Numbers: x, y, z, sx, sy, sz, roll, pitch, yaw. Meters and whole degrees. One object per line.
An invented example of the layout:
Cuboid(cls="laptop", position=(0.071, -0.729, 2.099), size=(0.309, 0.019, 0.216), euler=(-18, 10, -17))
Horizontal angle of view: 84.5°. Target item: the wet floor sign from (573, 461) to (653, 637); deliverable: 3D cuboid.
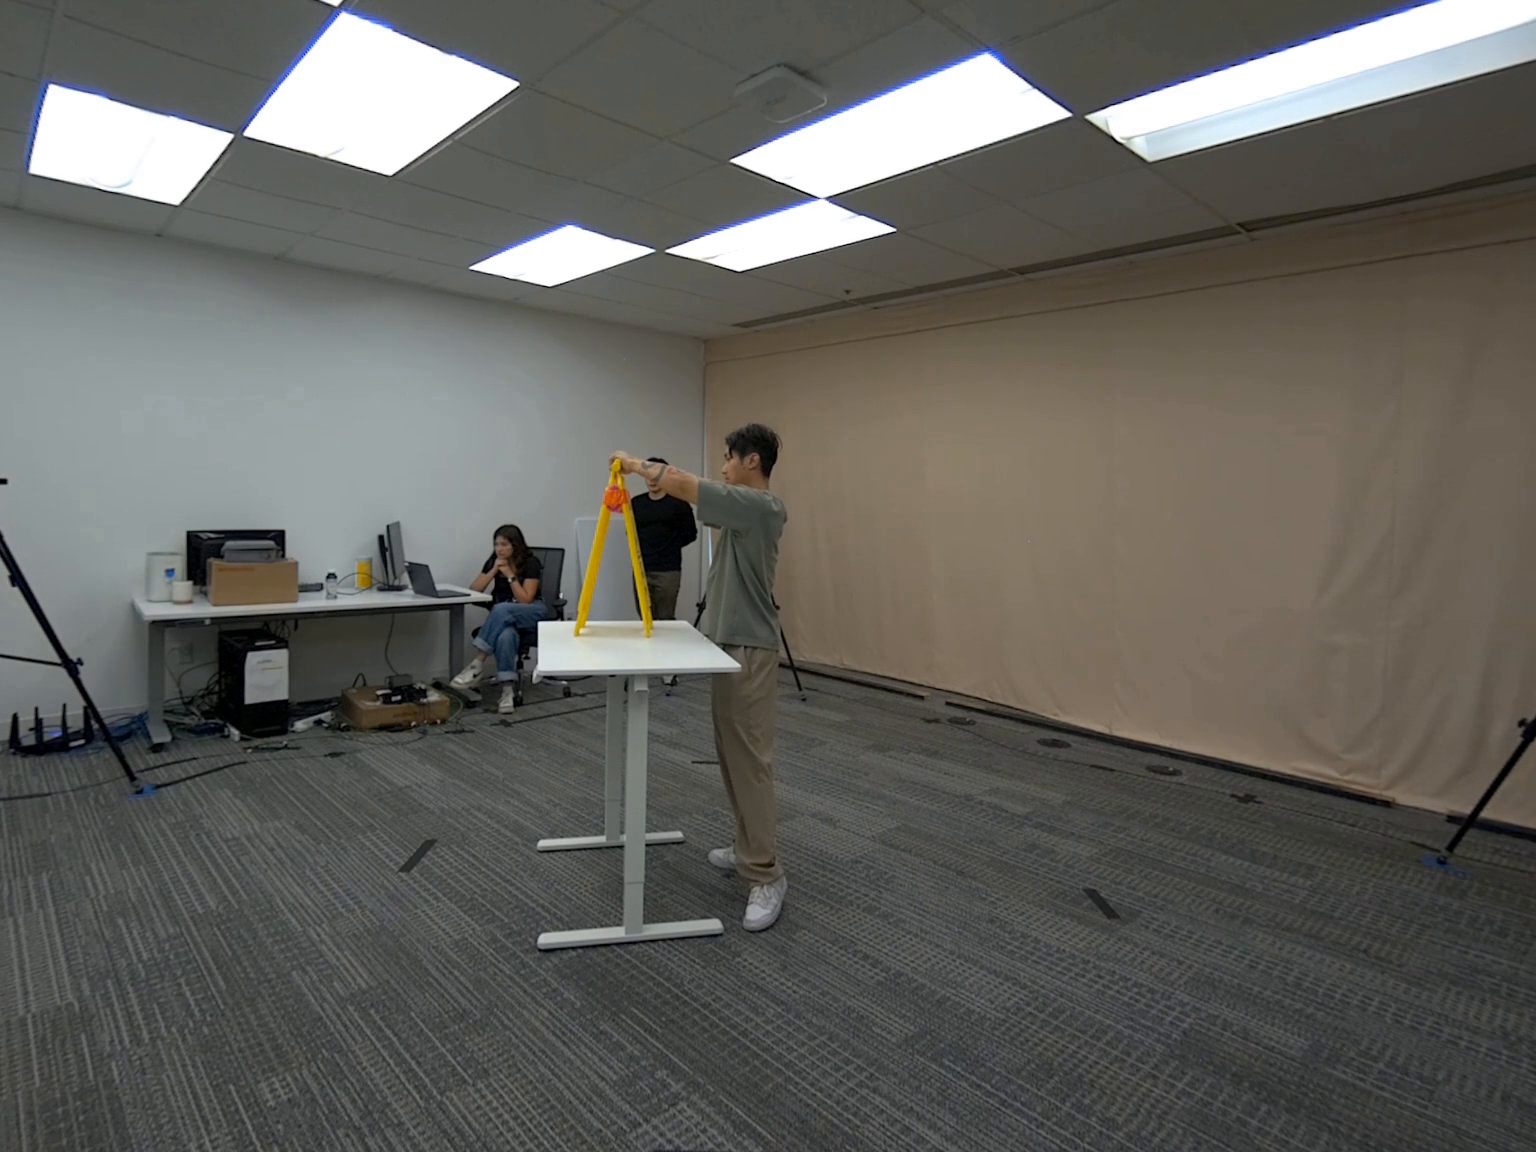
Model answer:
Cuboid(cls="wet floor sign", position=(-0.574, -0.109, 3.167), size=(0.288, 0.646, 0.283), euler=(1, 1, -5))
